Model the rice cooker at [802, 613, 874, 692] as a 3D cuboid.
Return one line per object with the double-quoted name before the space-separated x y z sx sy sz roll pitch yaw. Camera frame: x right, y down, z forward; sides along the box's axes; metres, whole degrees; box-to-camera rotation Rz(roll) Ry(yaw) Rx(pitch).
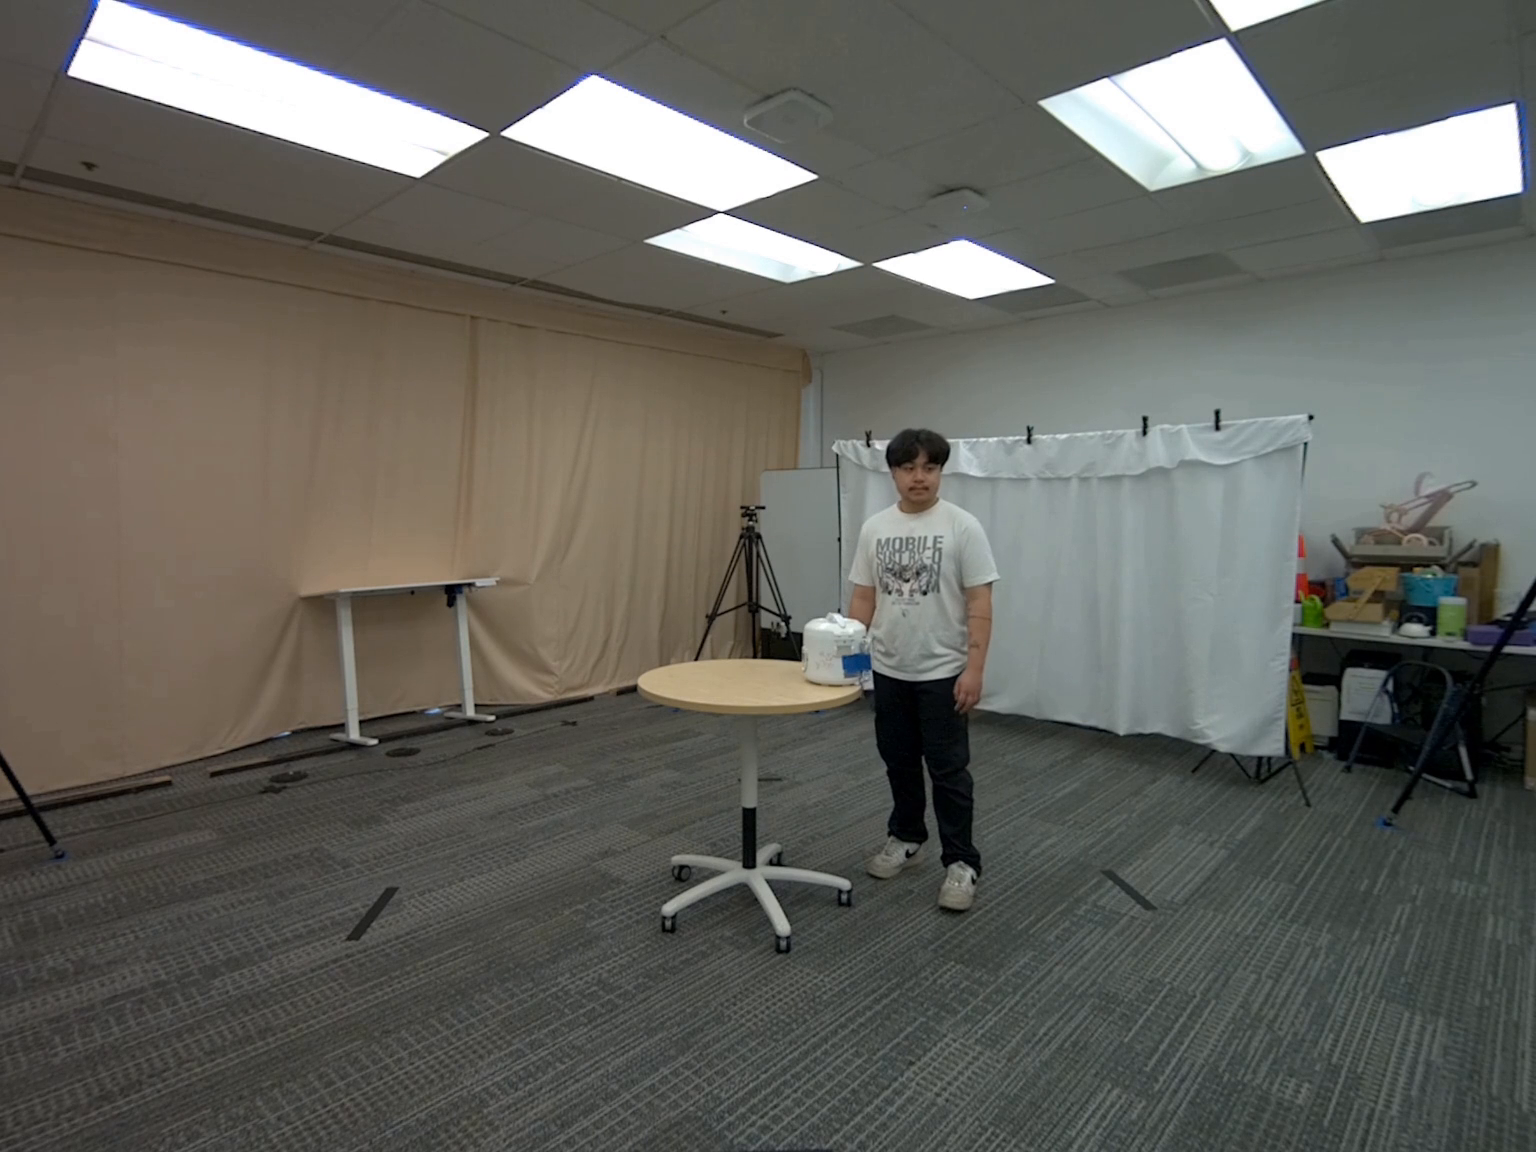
"rice cooker" 0.228 0.242 2.855 0.215 0.232 0.223 2 3 -9
